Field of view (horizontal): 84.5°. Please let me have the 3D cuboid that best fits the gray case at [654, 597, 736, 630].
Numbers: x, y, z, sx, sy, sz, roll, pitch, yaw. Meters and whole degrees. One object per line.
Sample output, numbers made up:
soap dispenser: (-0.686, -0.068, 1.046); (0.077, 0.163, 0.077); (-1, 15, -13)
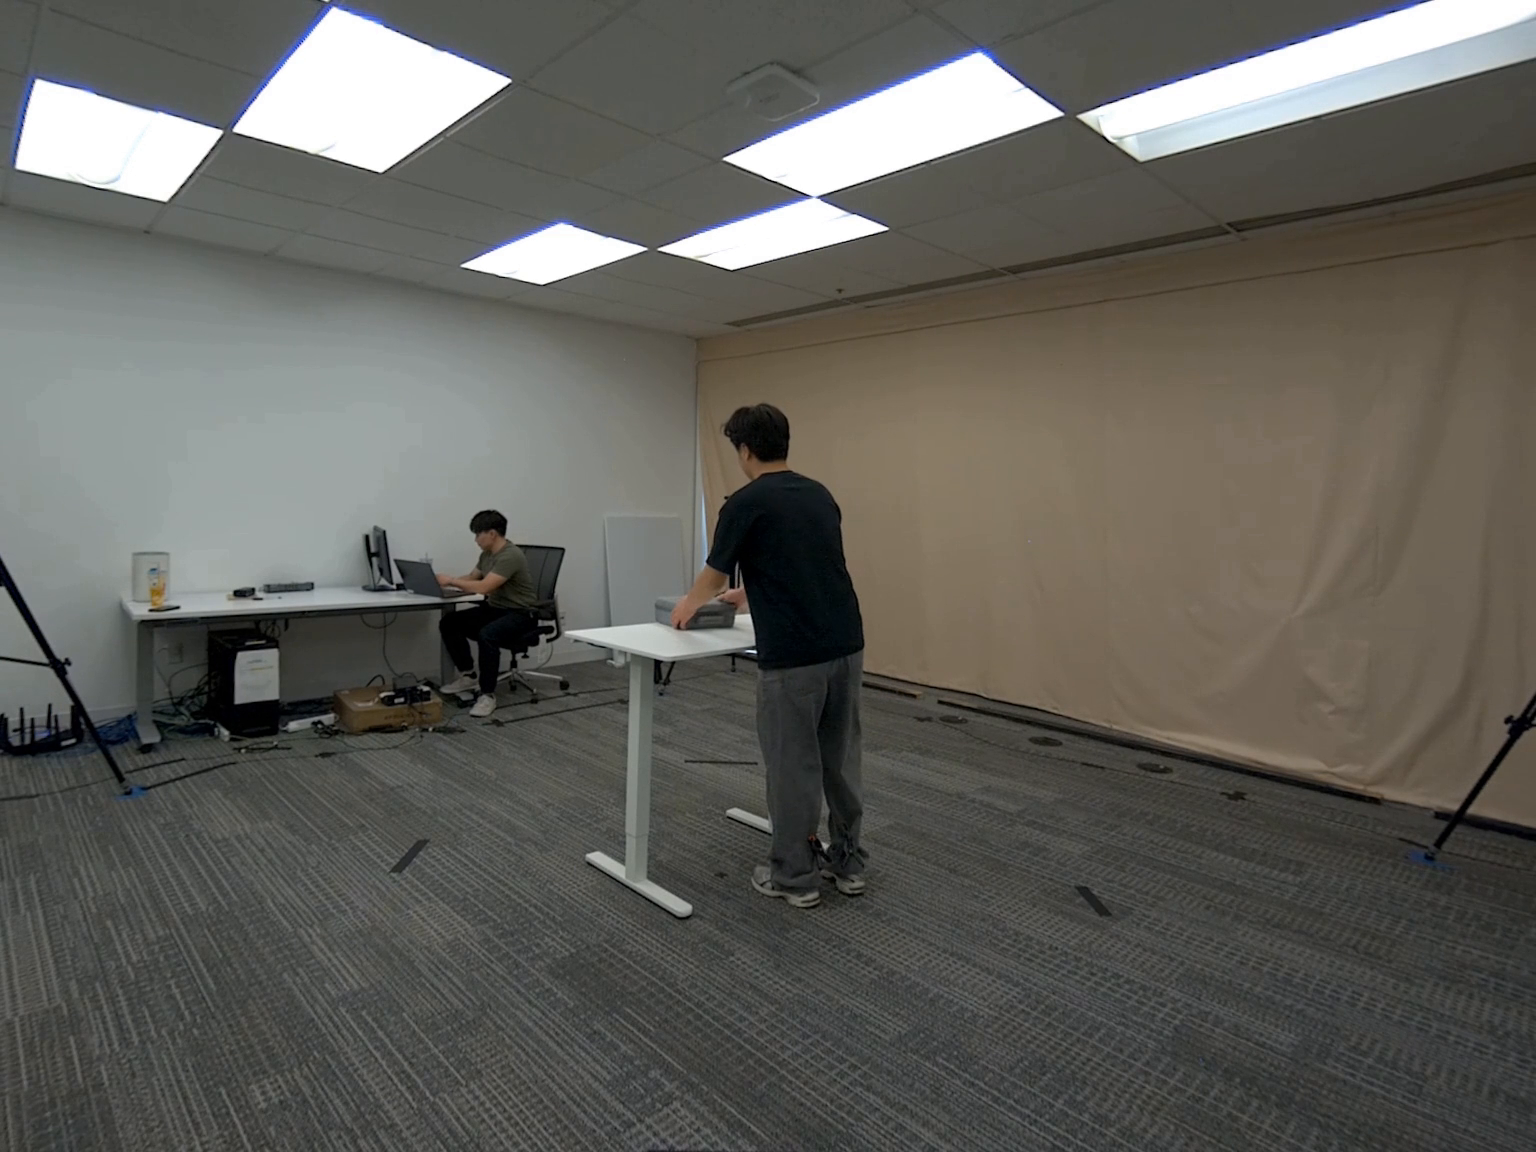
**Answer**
gray case: (-0.300, 0.143, 3.366); (0.251, 0.104, 0.267); (0, 6, -33)
